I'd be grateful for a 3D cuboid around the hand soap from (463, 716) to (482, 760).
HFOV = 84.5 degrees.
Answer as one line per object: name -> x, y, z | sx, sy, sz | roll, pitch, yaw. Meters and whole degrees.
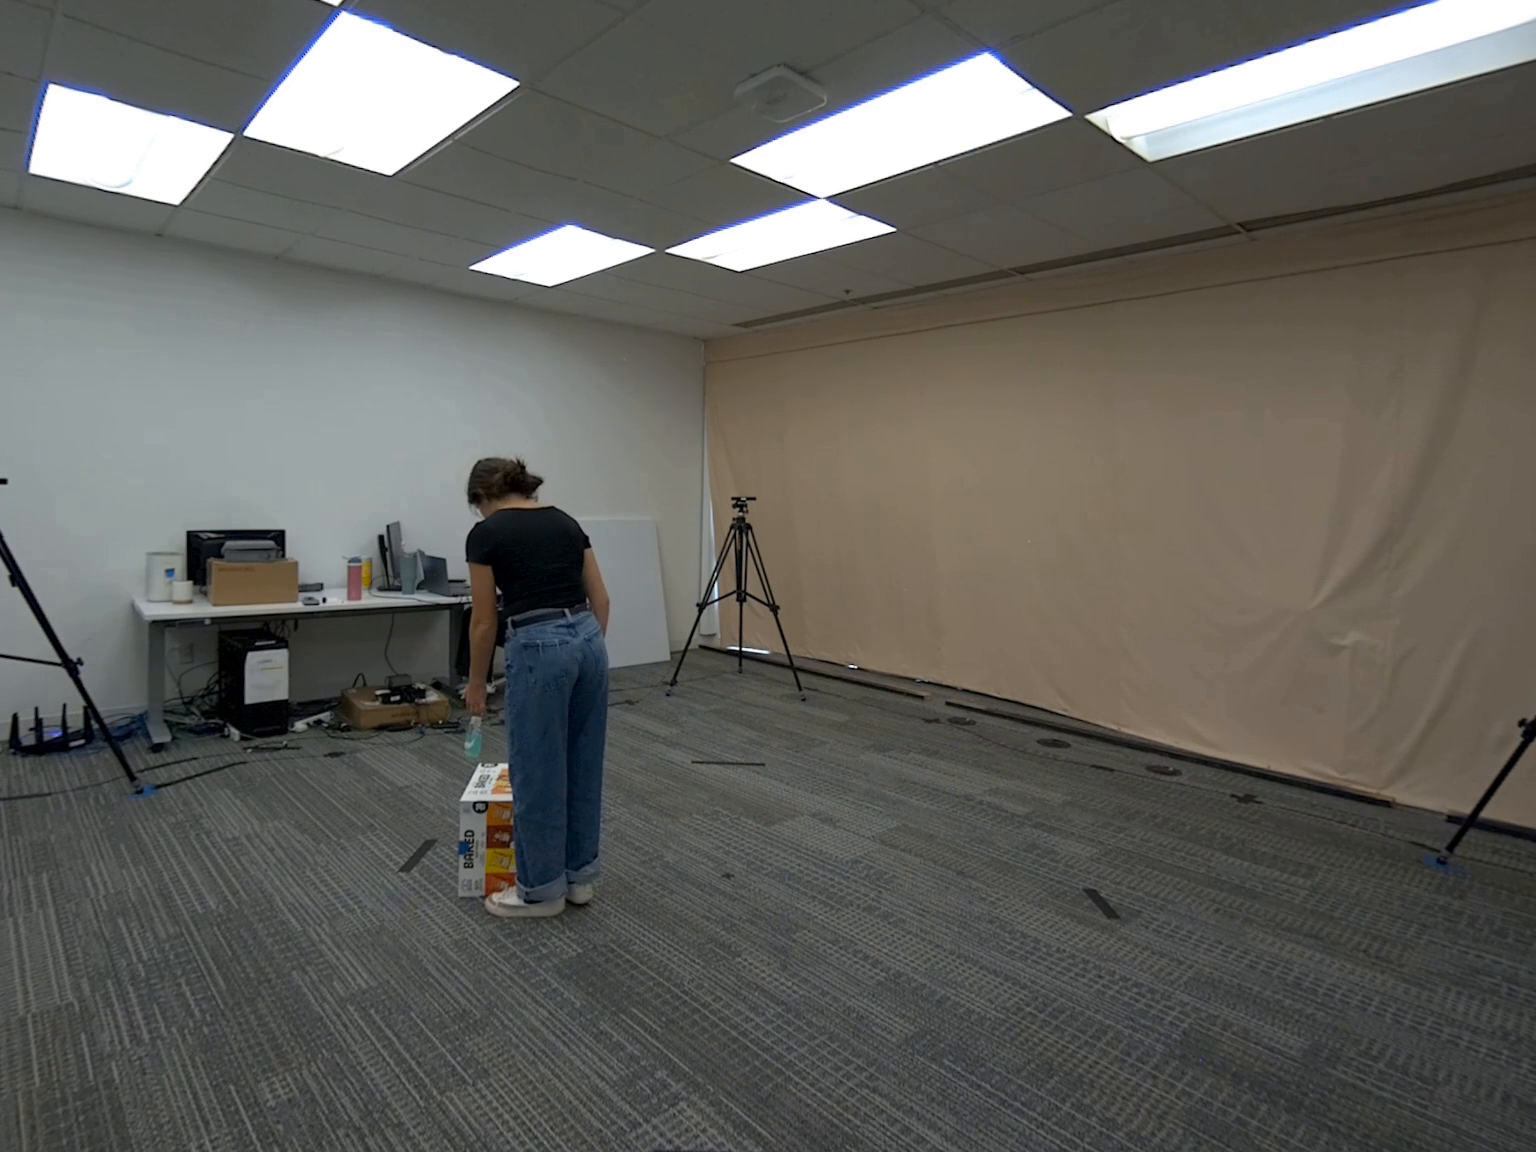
hand soap -> -1.008, 0.534, 2.887 | 0.086, 0.168, 0.042 | 5, -1, 36
